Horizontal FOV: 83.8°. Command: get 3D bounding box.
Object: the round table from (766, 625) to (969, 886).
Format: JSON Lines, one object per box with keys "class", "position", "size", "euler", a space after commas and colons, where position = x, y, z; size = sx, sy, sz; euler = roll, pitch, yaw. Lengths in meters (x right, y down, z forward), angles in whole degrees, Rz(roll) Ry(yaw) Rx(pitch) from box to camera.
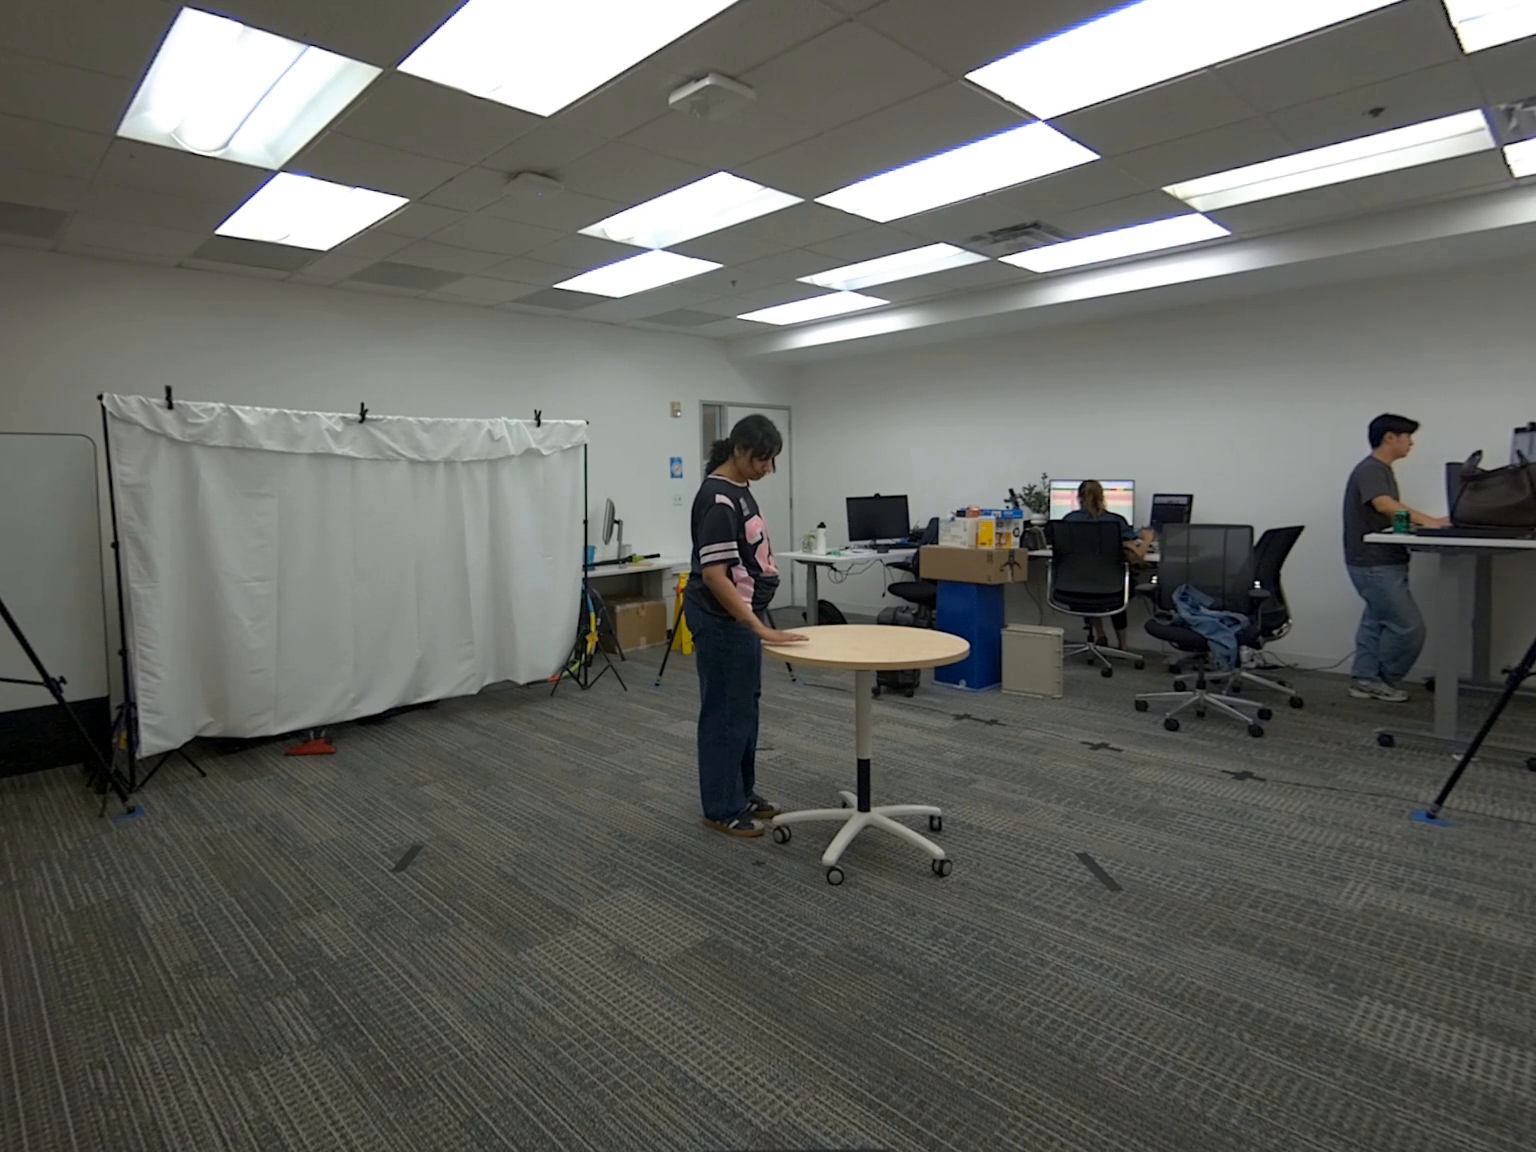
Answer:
{"class": "round table", "position": [0.370, 0.633, 3.223], "size": [0.784, 0.784, 0.789], "euler": [-1, 5, -2]}
